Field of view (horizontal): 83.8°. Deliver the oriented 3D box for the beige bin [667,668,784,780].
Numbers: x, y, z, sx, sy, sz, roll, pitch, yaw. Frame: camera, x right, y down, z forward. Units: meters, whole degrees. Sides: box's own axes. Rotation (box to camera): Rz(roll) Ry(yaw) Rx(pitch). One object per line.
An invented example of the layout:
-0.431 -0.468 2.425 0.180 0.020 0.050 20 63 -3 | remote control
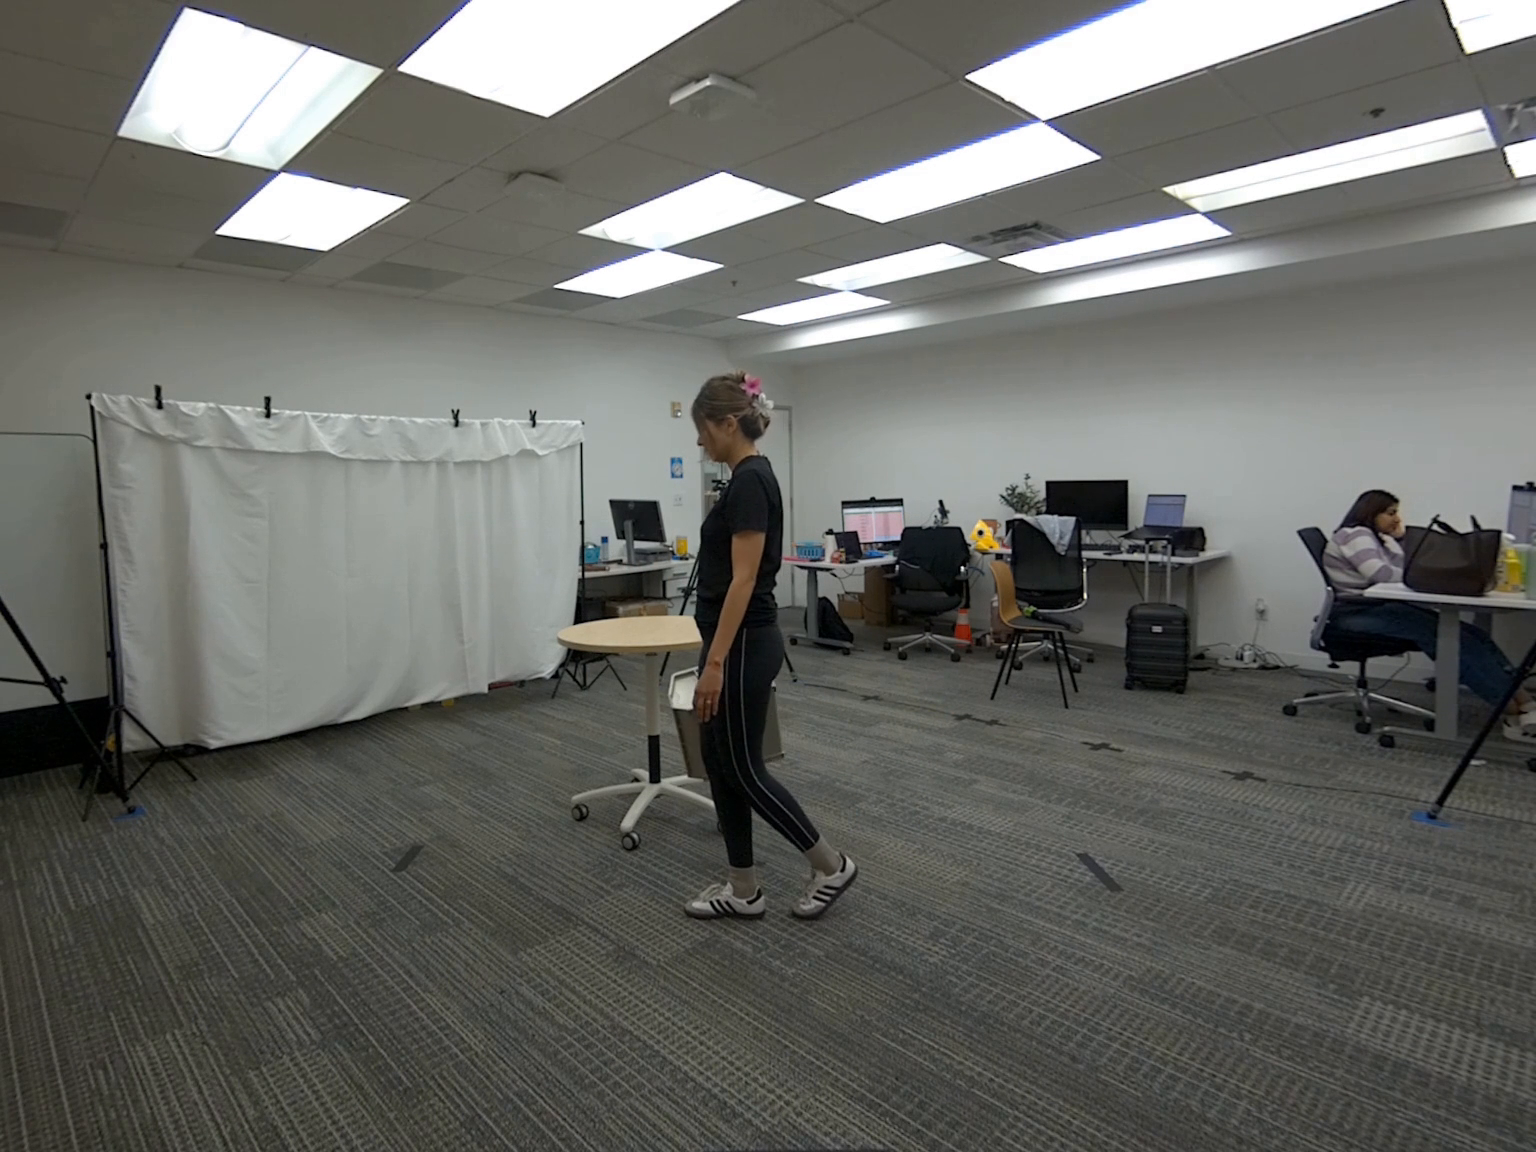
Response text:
-0.140 0.517 3.103 0.375 0.409 0.196 -15 41 -7 | beige bin
